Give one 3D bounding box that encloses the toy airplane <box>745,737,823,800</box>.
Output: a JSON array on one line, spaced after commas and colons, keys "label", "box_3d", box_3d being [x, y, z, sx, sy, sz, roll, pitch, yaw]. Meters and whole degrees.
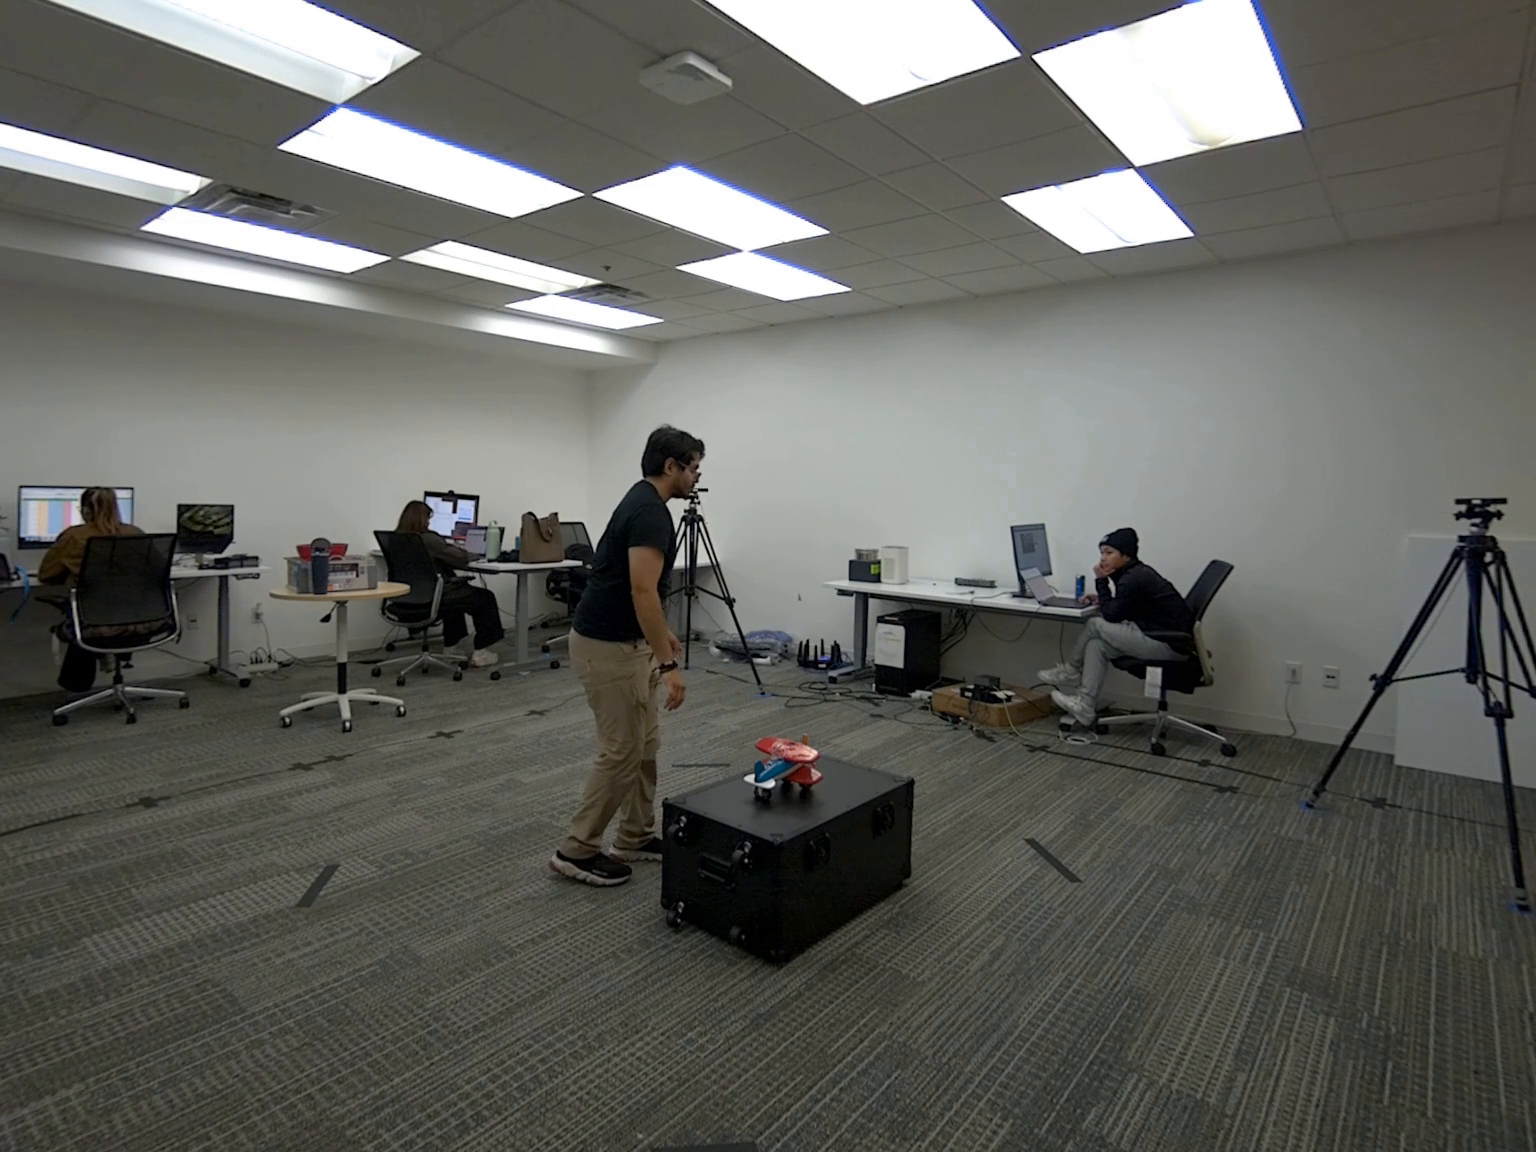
[{"label": "toy airplane", "box_3d": [0.047, 0.648, 2.860, 0.255, 0.156, 0.255, 2, 4, 15]}]
